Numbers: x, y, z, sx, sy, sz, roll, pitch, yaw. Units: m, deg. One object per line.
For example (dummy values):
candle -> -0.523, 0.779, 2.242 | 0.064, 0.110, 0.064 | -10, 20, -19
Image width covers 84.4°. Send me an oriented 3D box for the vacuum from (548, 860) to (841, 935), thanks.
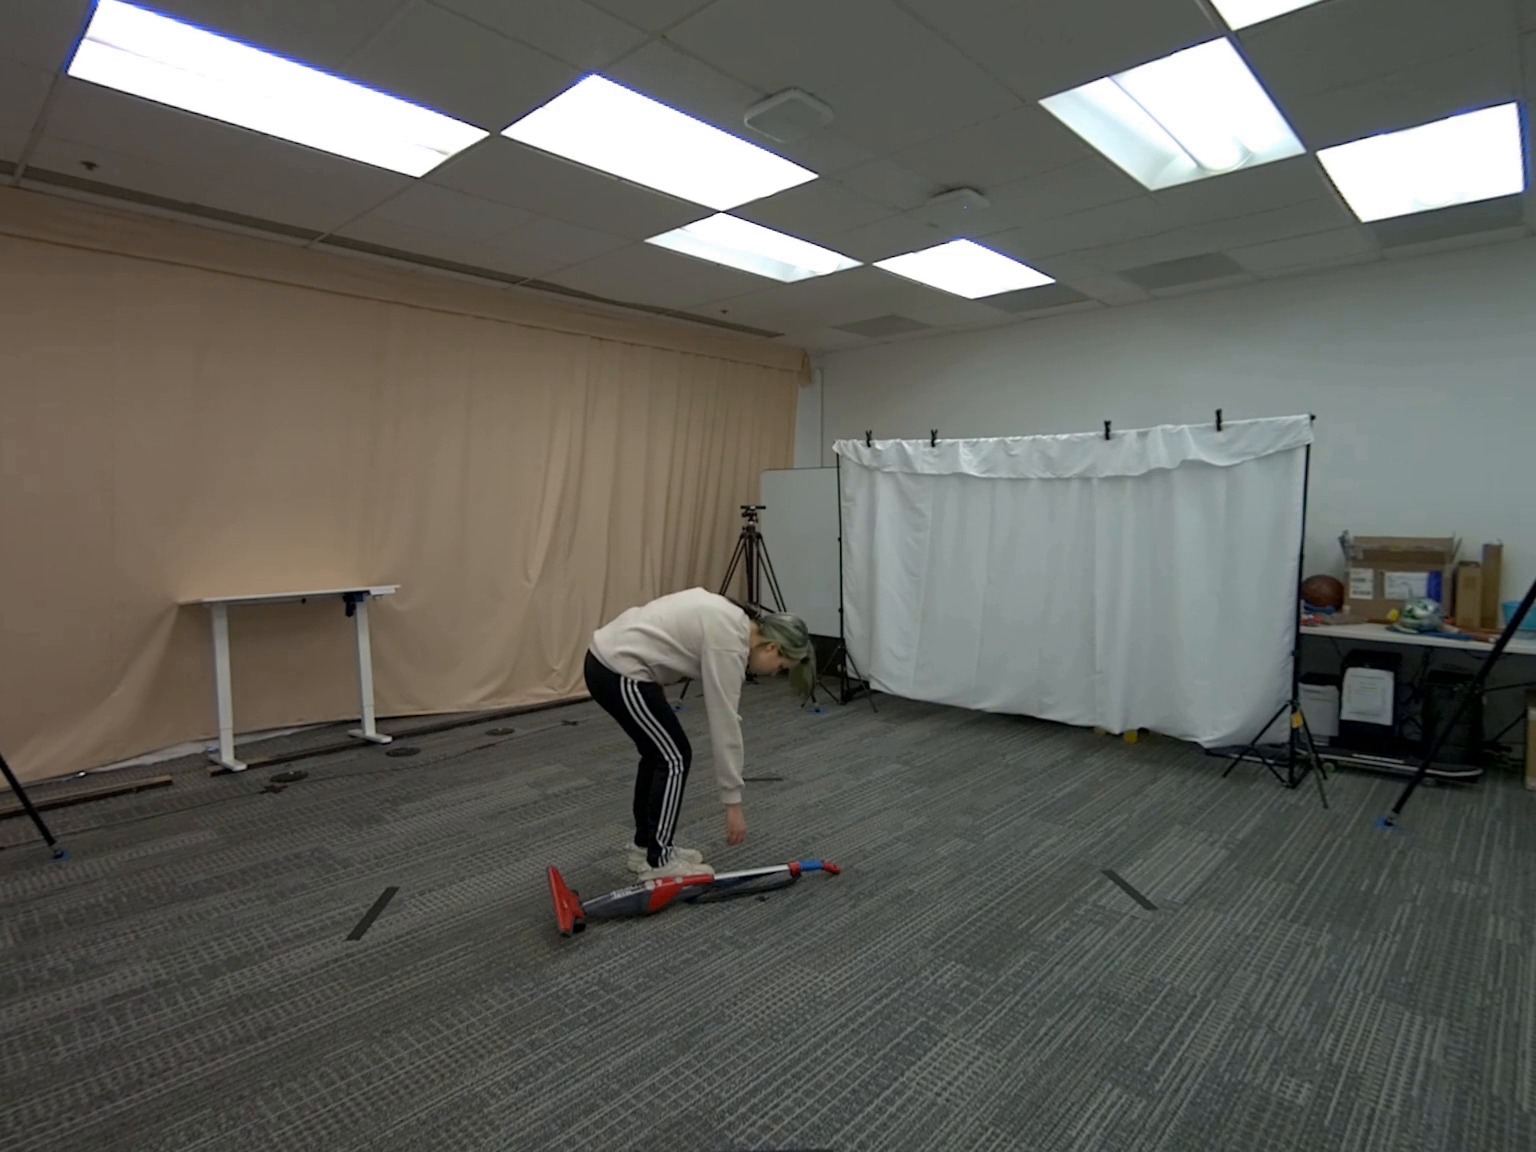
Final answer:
vacuum -> -0.206, 1.097, 2.966 | 1.025, 0.143, 0.260 | 2, 34, -23
